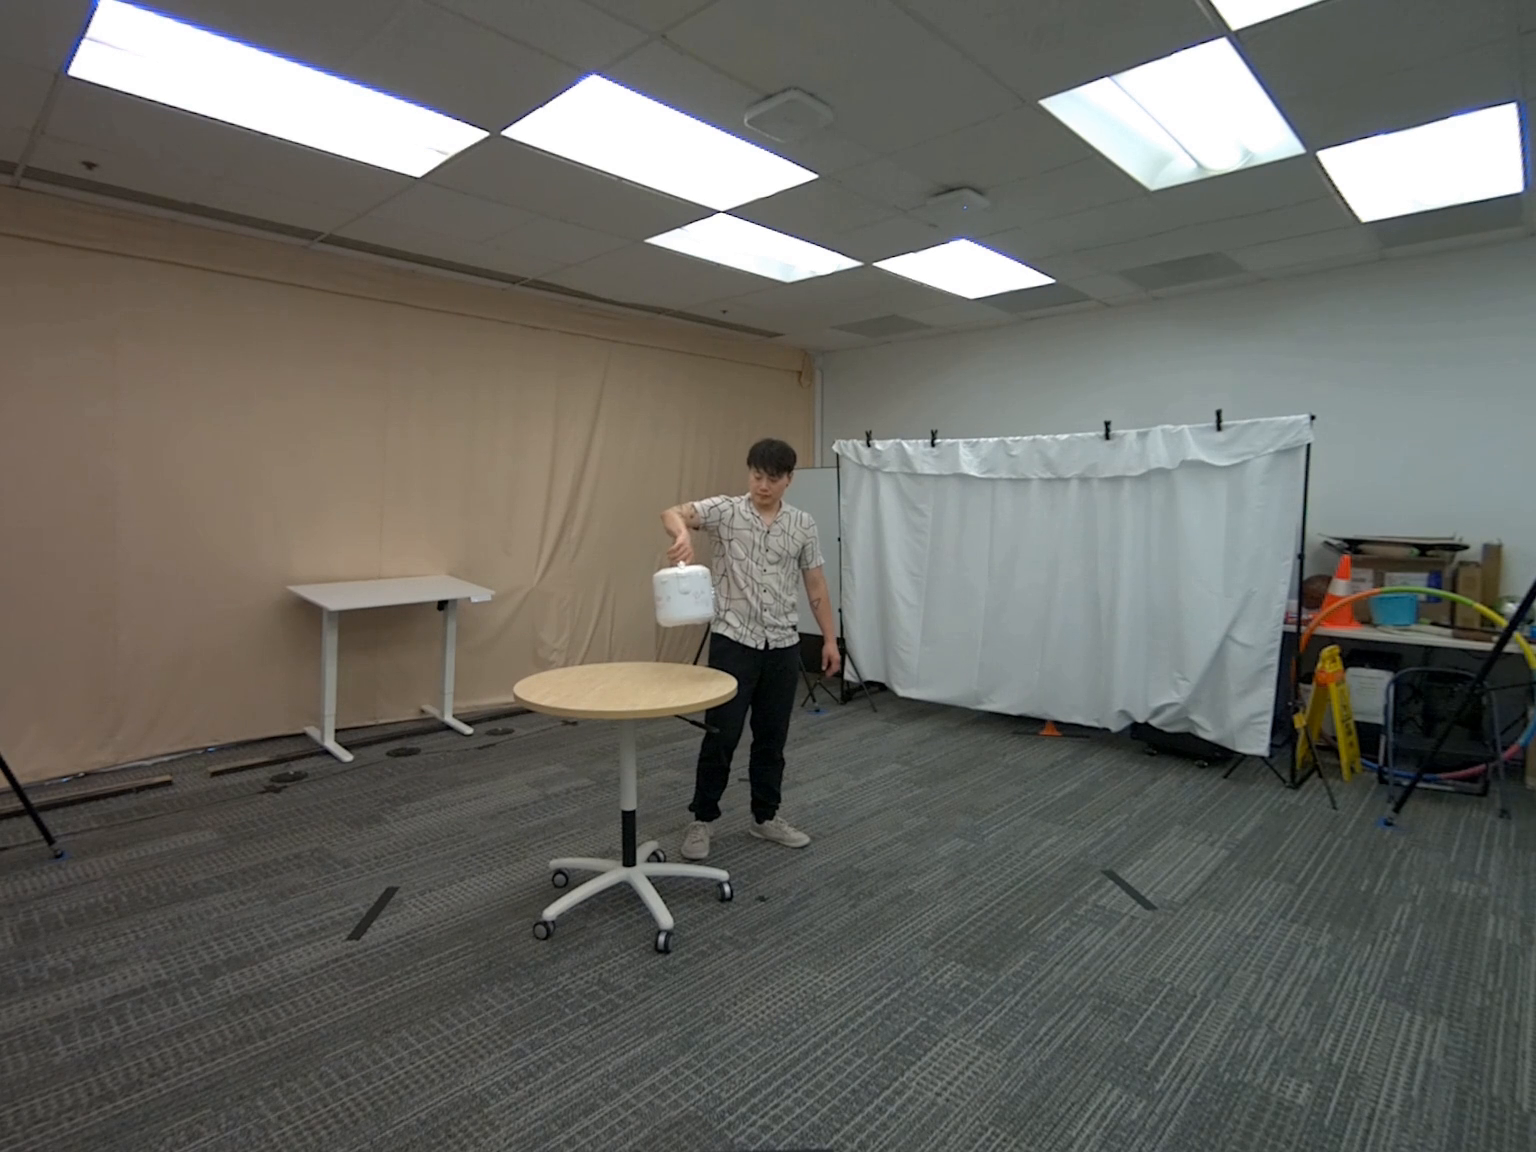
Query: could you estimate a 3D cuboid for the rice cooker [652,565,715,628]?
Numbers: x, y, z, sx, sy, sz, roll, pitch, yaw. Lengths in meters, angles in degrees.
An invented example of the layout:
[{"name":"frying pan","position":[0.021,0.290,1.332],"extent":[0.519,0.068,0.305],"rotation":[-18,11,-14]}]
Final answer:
[{"name":"rice cooker","position":[-0.303,0.062,3.043],"extent":[0.216,0.233,0.222],"rotation":[-6,-3,-8]}]
